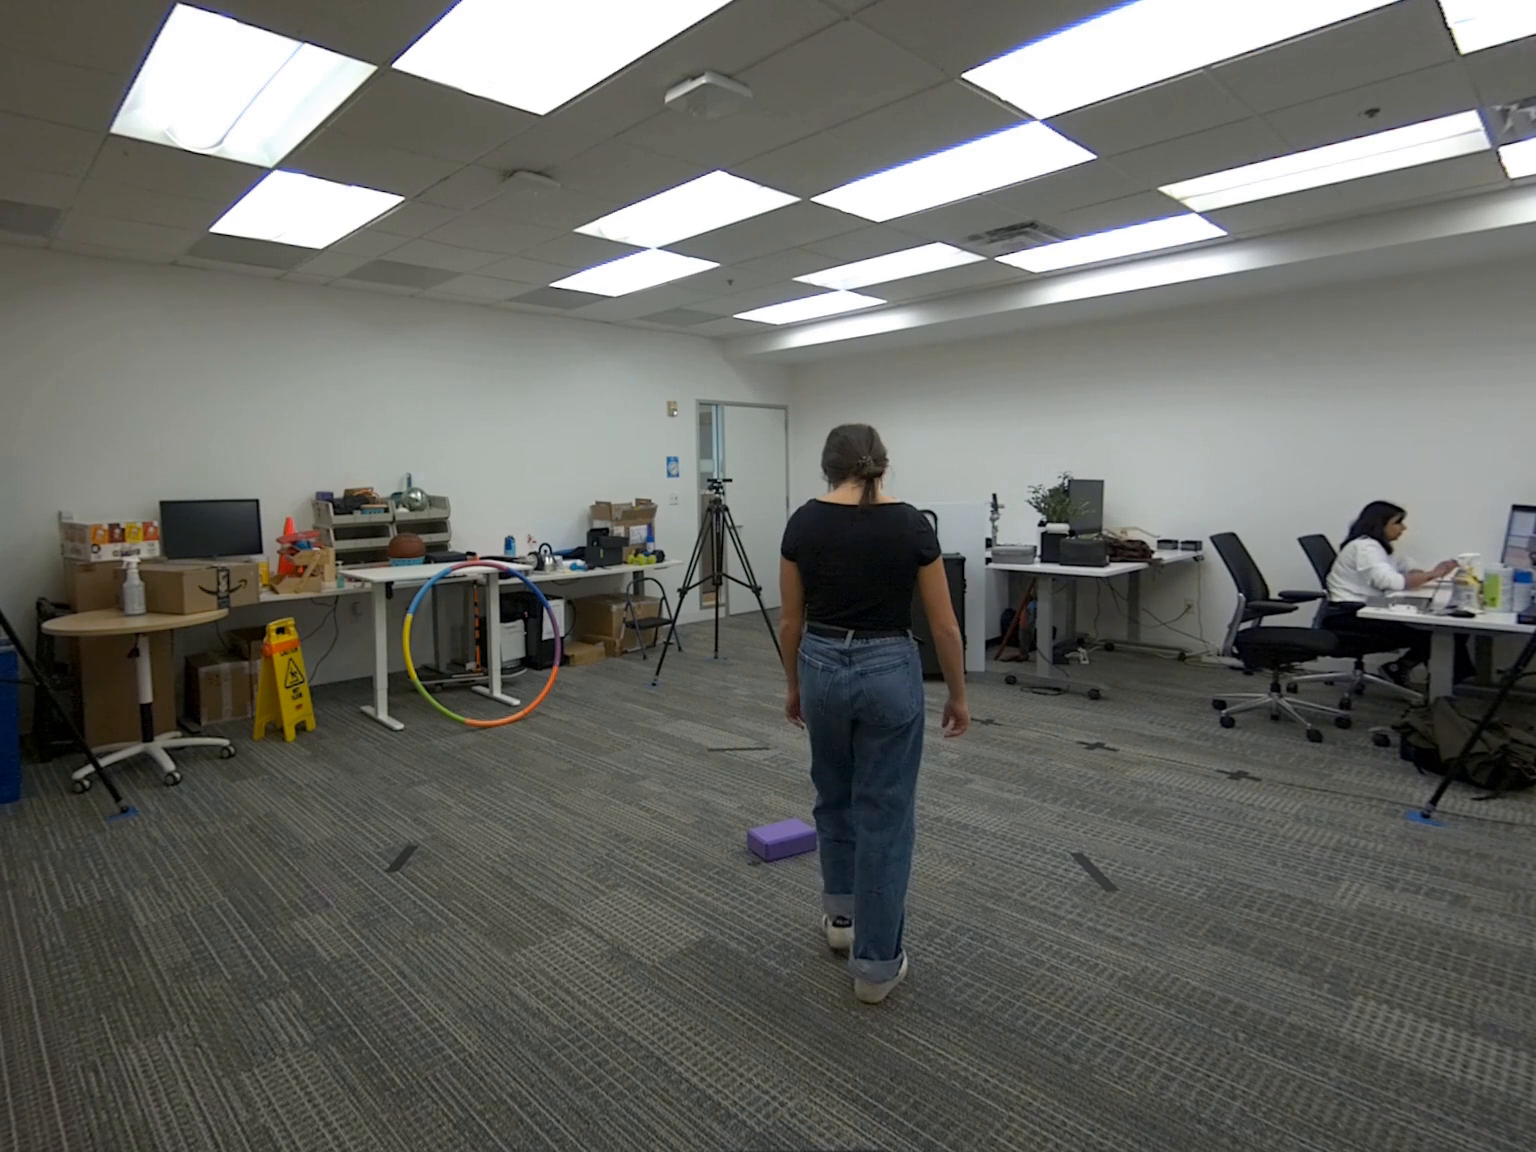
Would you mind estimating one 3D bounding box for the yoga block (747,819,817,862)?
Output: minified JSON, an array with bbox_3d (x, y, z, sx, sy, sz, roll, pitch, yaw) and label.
[{"bbox_3d":[0.055,0.992,3.226,0.224,0.076,0.153,-4,7,-29],"label":"yoga block"}]
